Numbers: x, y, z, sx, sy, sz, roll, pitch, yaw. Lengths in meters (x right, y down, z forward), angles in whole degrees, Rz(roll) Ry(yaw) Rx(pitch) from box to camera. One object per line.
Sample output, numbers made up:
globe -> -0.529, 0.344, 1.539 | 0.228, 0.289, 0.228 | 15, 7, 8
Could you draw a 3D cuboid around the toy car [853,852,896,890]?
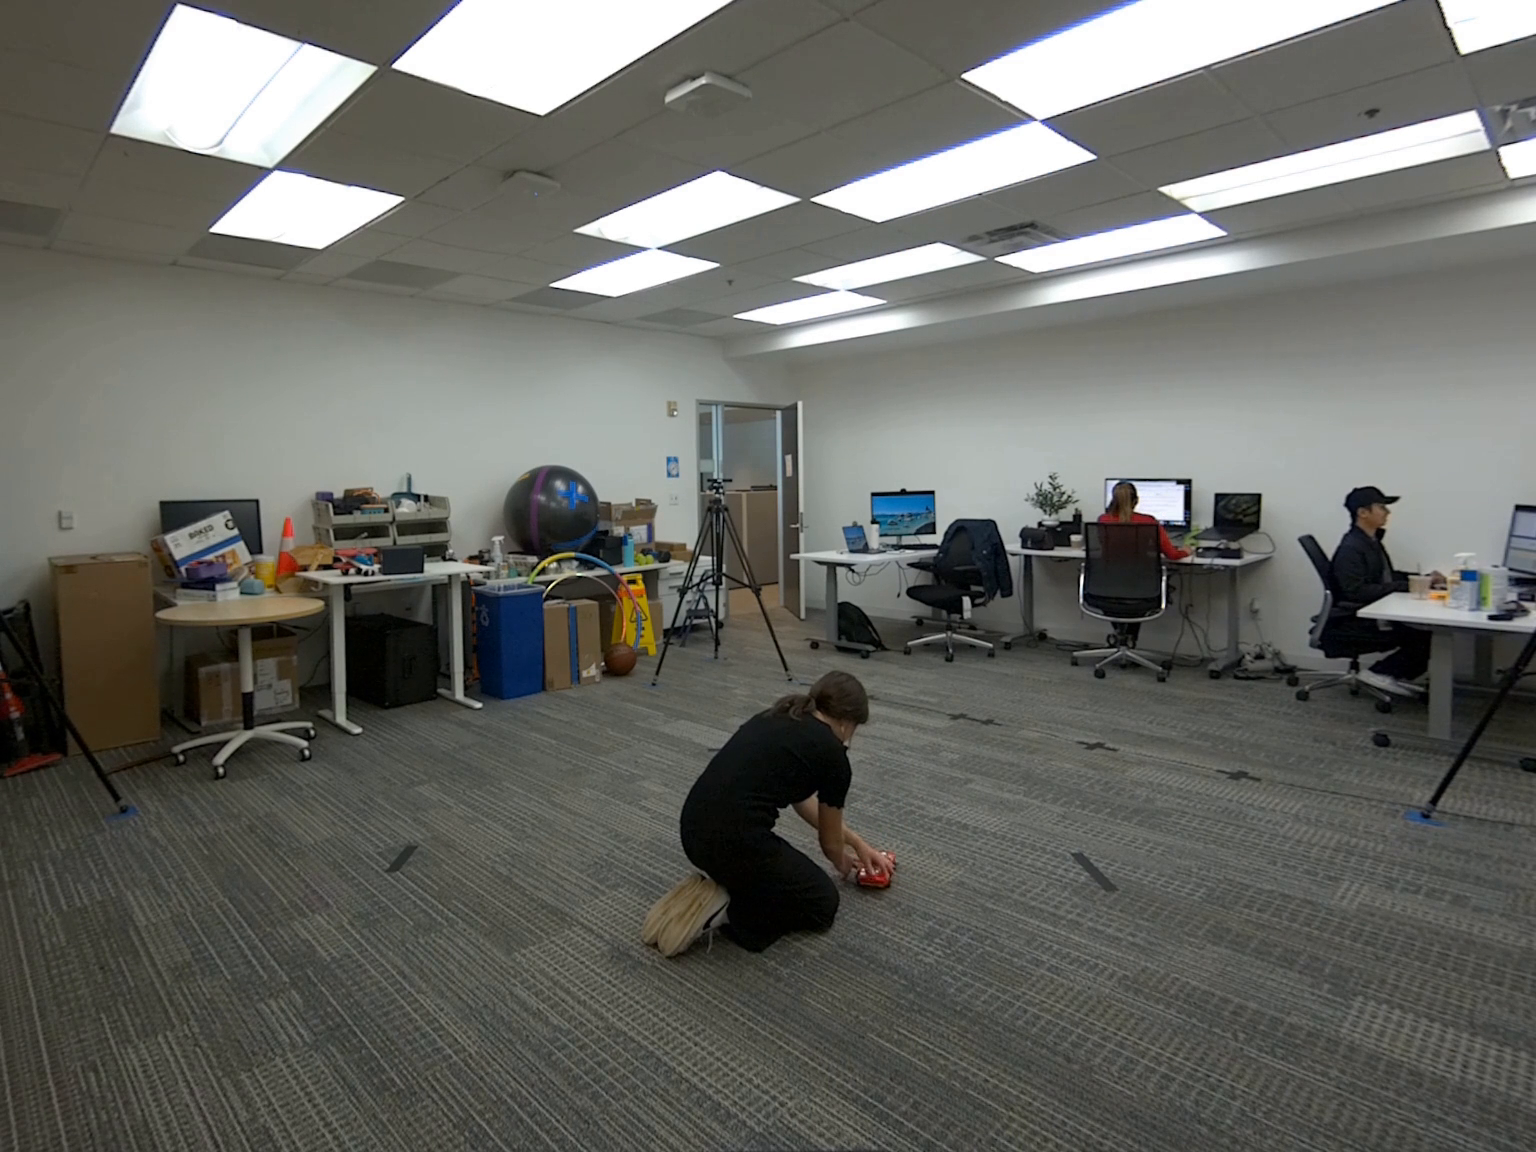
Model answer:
toy car -> 0.379, 1.021, 2.973 | 0.133, 0.083, 0.249 | 1, -3, 18
